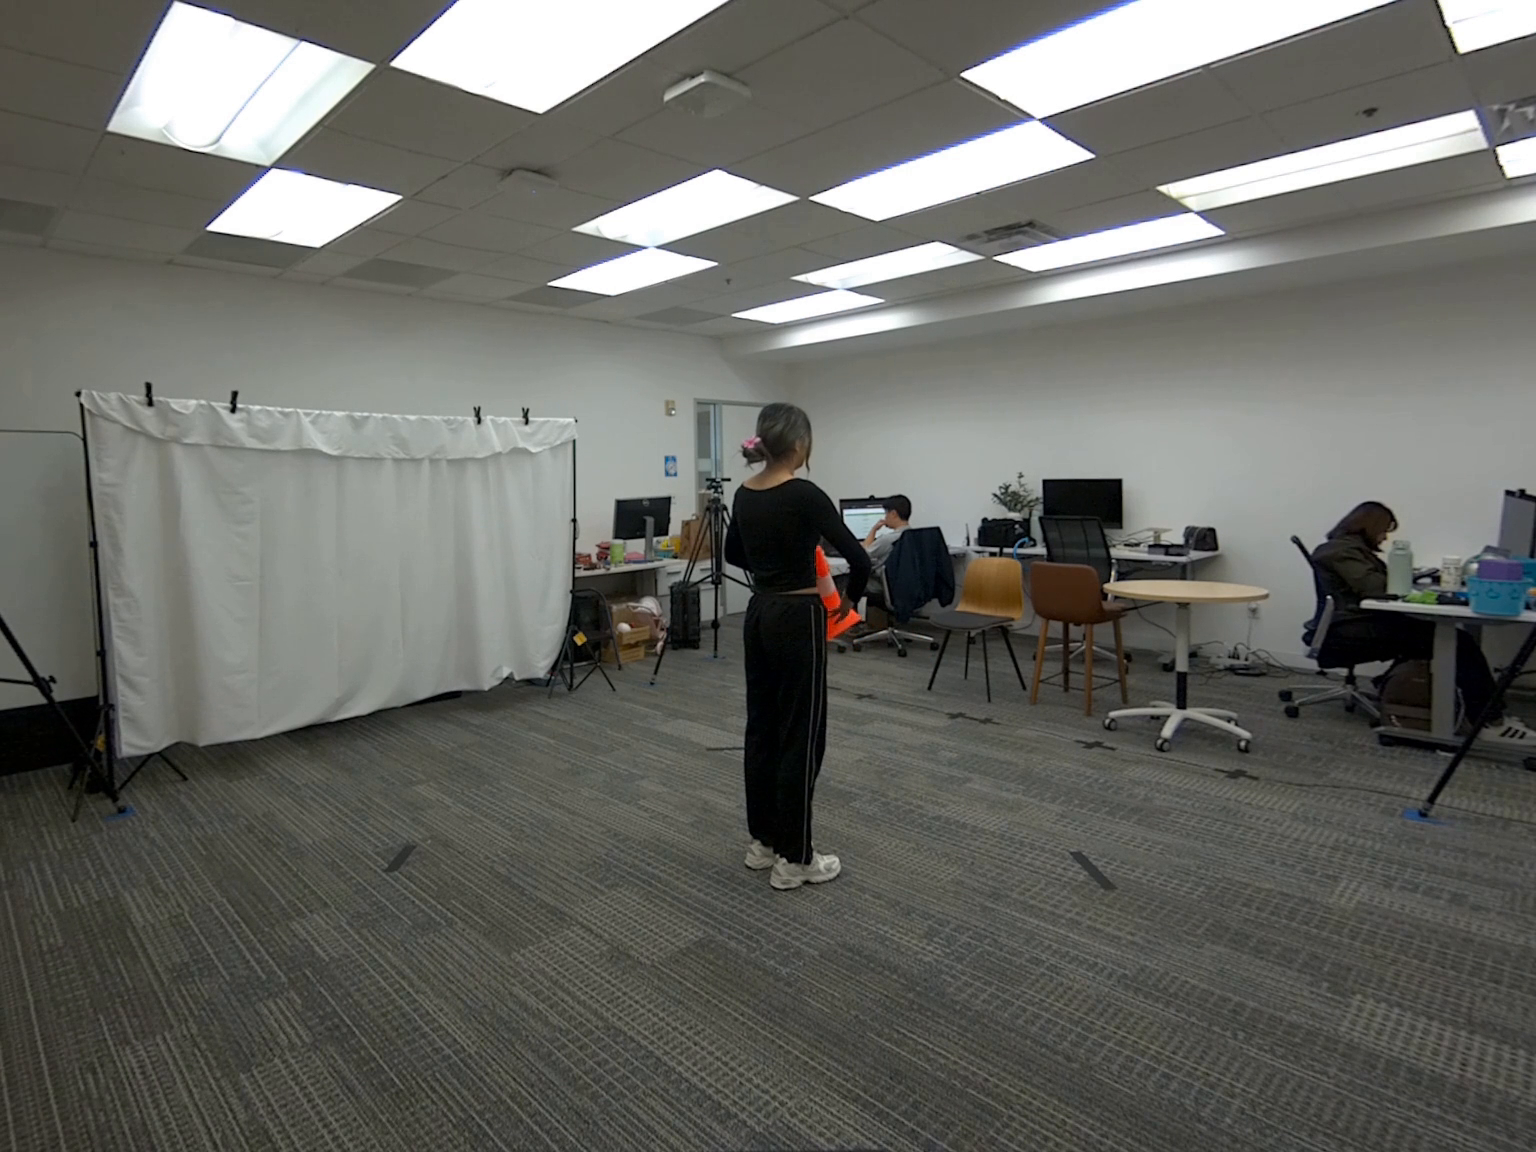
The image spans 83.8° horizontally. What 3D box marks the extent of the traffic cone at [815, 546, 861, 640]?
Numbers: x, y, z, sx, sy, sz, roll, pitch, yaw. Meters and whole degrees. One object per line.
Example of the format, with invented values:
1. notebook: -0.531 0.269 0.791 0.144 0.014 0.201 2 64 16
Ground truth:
1. traffic cone: 0.201 0.037 3.221 0.202 0.371 0.213 -32 45 -18
